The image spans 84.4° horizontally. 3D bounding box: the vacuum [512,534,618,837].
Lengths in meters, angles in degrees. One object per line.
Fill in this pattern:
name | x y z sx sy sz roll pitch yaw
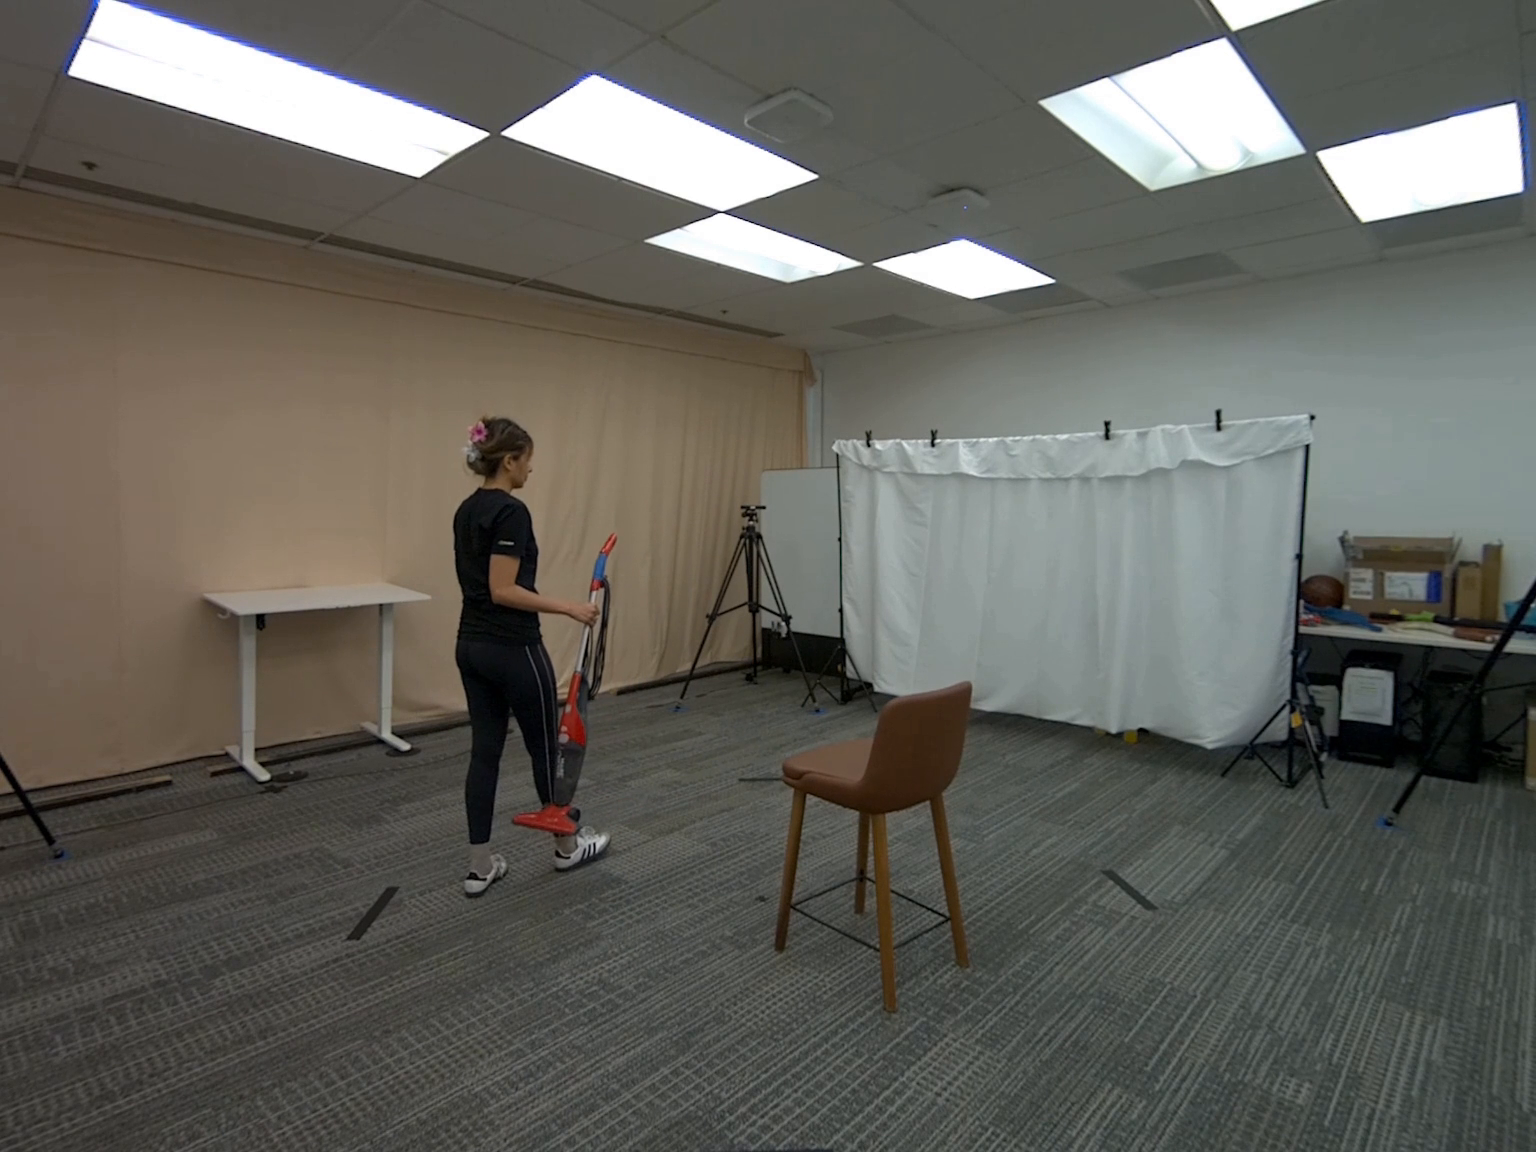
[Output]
vacuum | -0.650 0.352 3.033 0.259 1.056 0.140 4 -17 22
